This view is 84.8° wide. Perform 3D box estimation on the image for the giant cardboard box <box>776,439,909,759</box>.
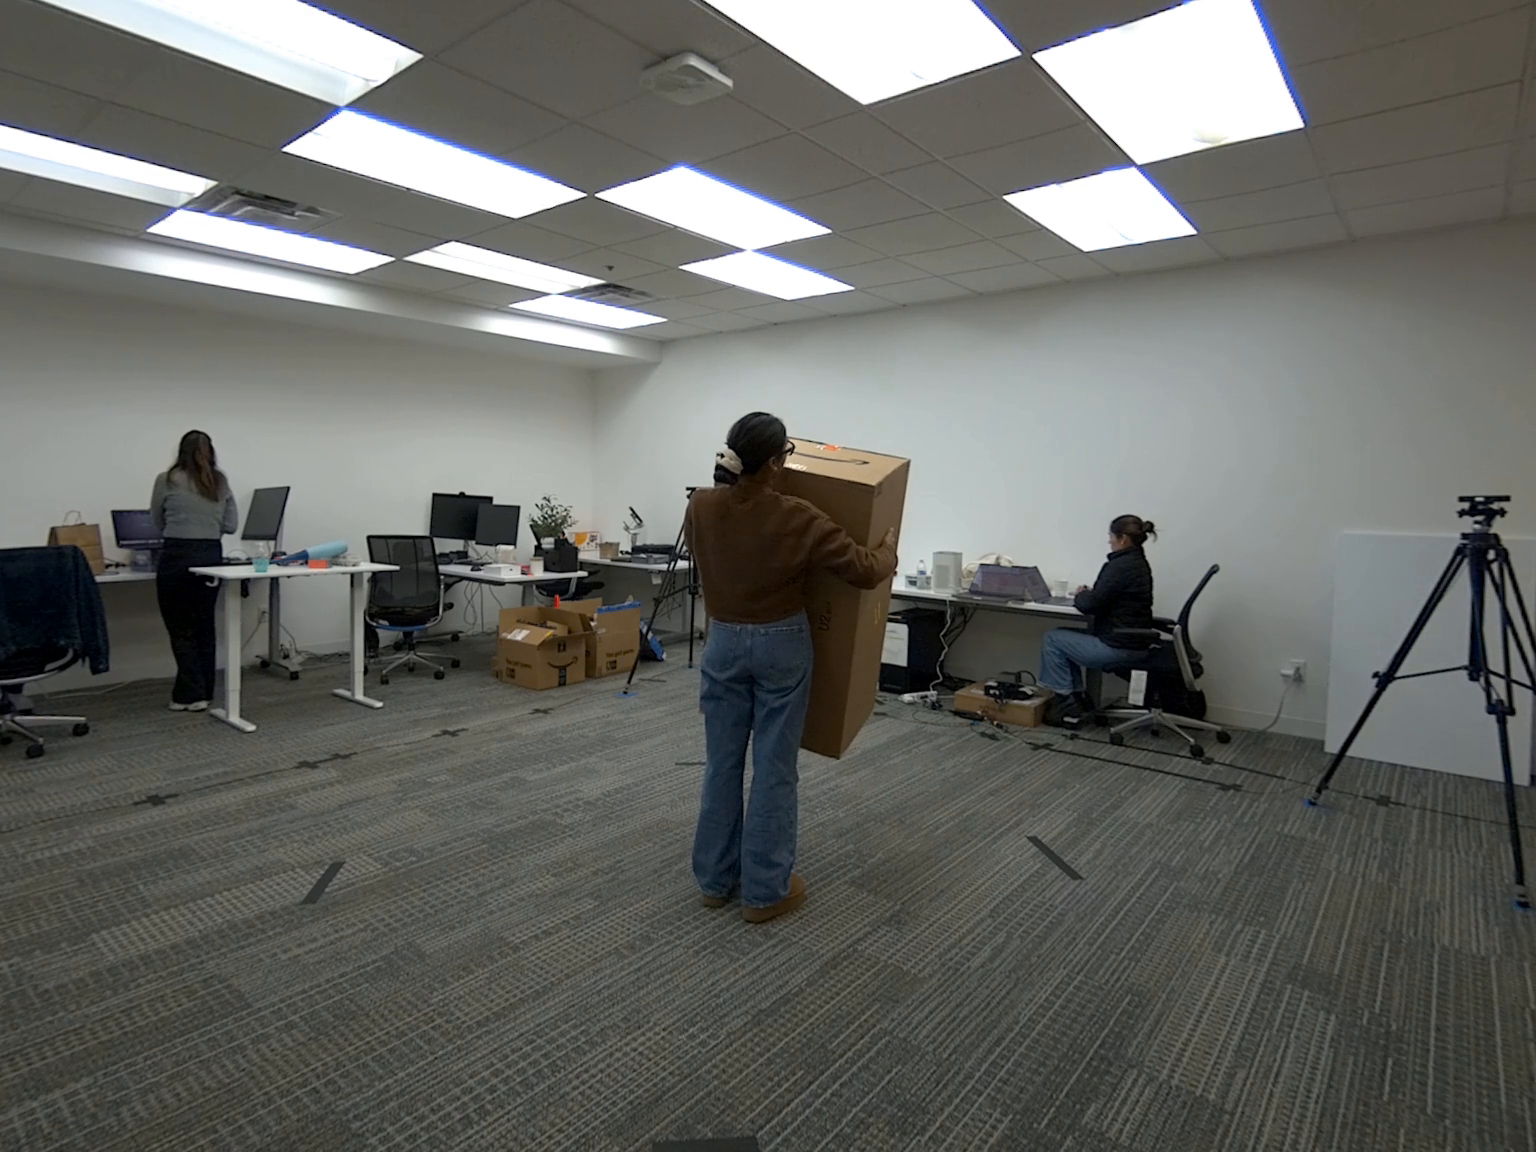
[{"bbox_3d":[0.119,0.051,3.145,0.594,1.009,0.421,14,22,24],"label":"giant cardboard box"}]
